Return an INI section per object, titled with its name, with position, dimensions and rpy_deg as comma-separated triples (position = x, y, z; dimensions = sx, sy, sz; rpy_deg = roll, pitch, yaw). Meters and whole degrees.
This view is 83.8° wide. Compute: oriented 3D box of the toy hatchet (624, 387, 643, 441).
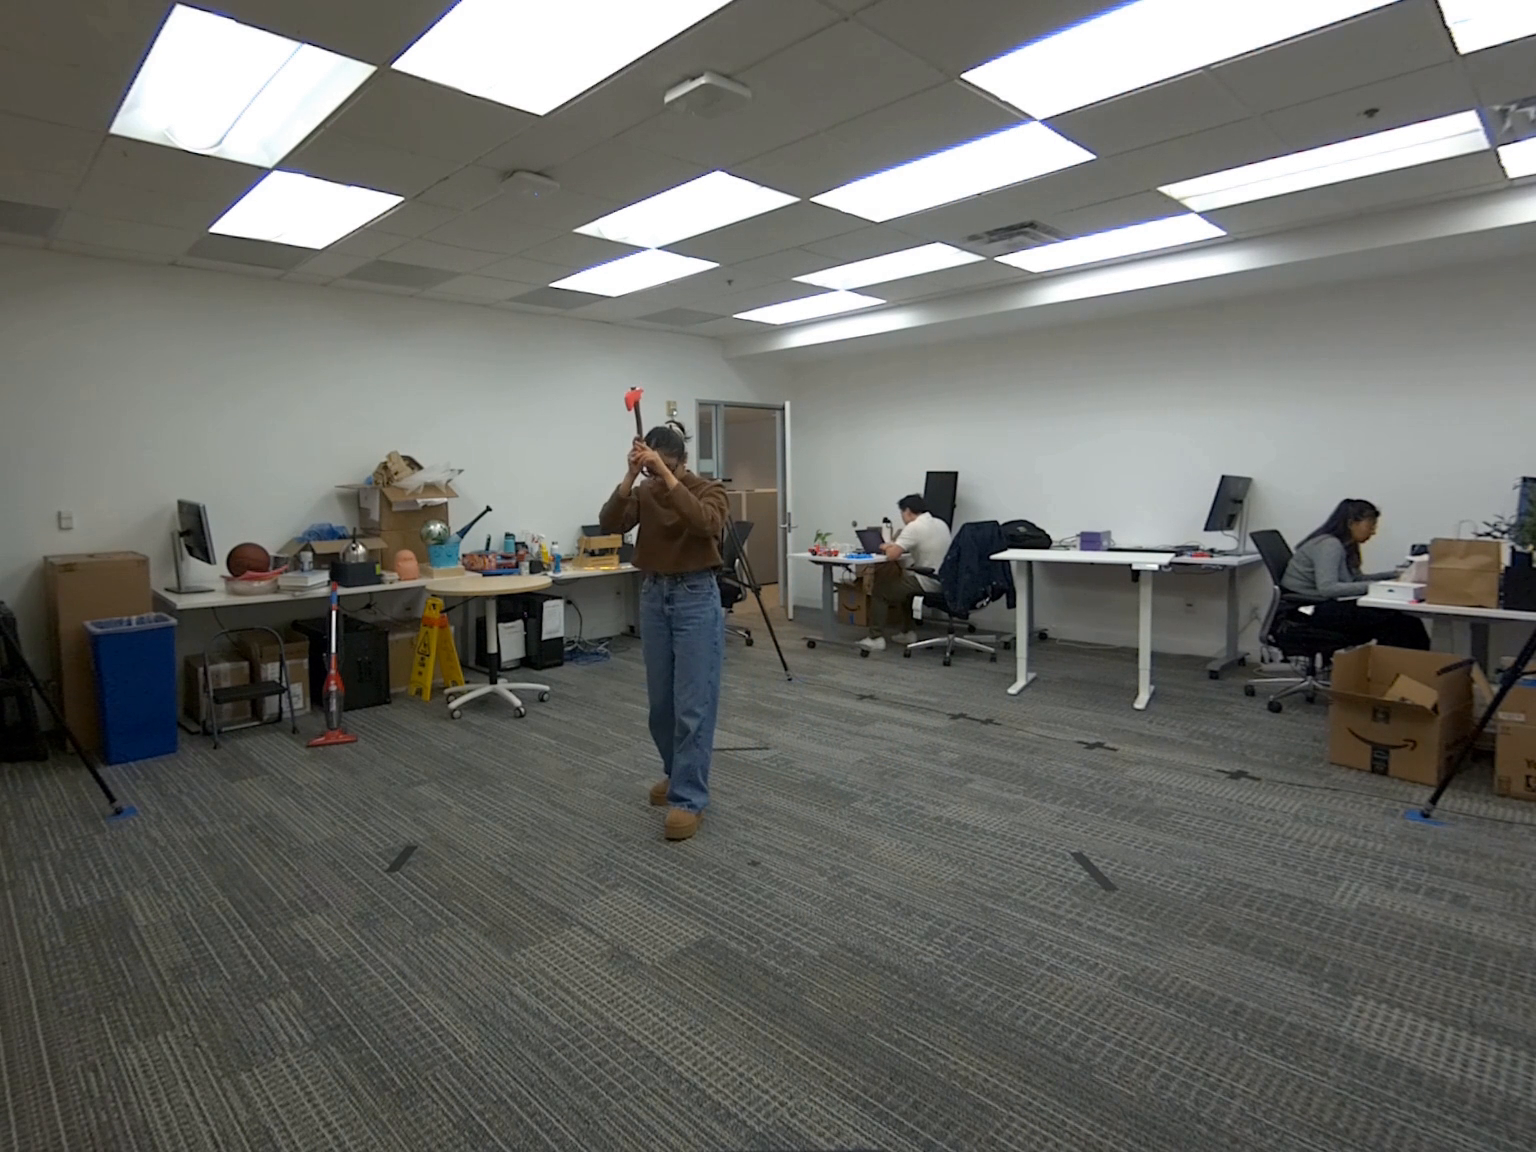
[toy hatchet]
position = -0.501, -0.575, 3.210
dimensions = 0.030, 0.269, 0.129
rpy_deg = 0, 4, 17
